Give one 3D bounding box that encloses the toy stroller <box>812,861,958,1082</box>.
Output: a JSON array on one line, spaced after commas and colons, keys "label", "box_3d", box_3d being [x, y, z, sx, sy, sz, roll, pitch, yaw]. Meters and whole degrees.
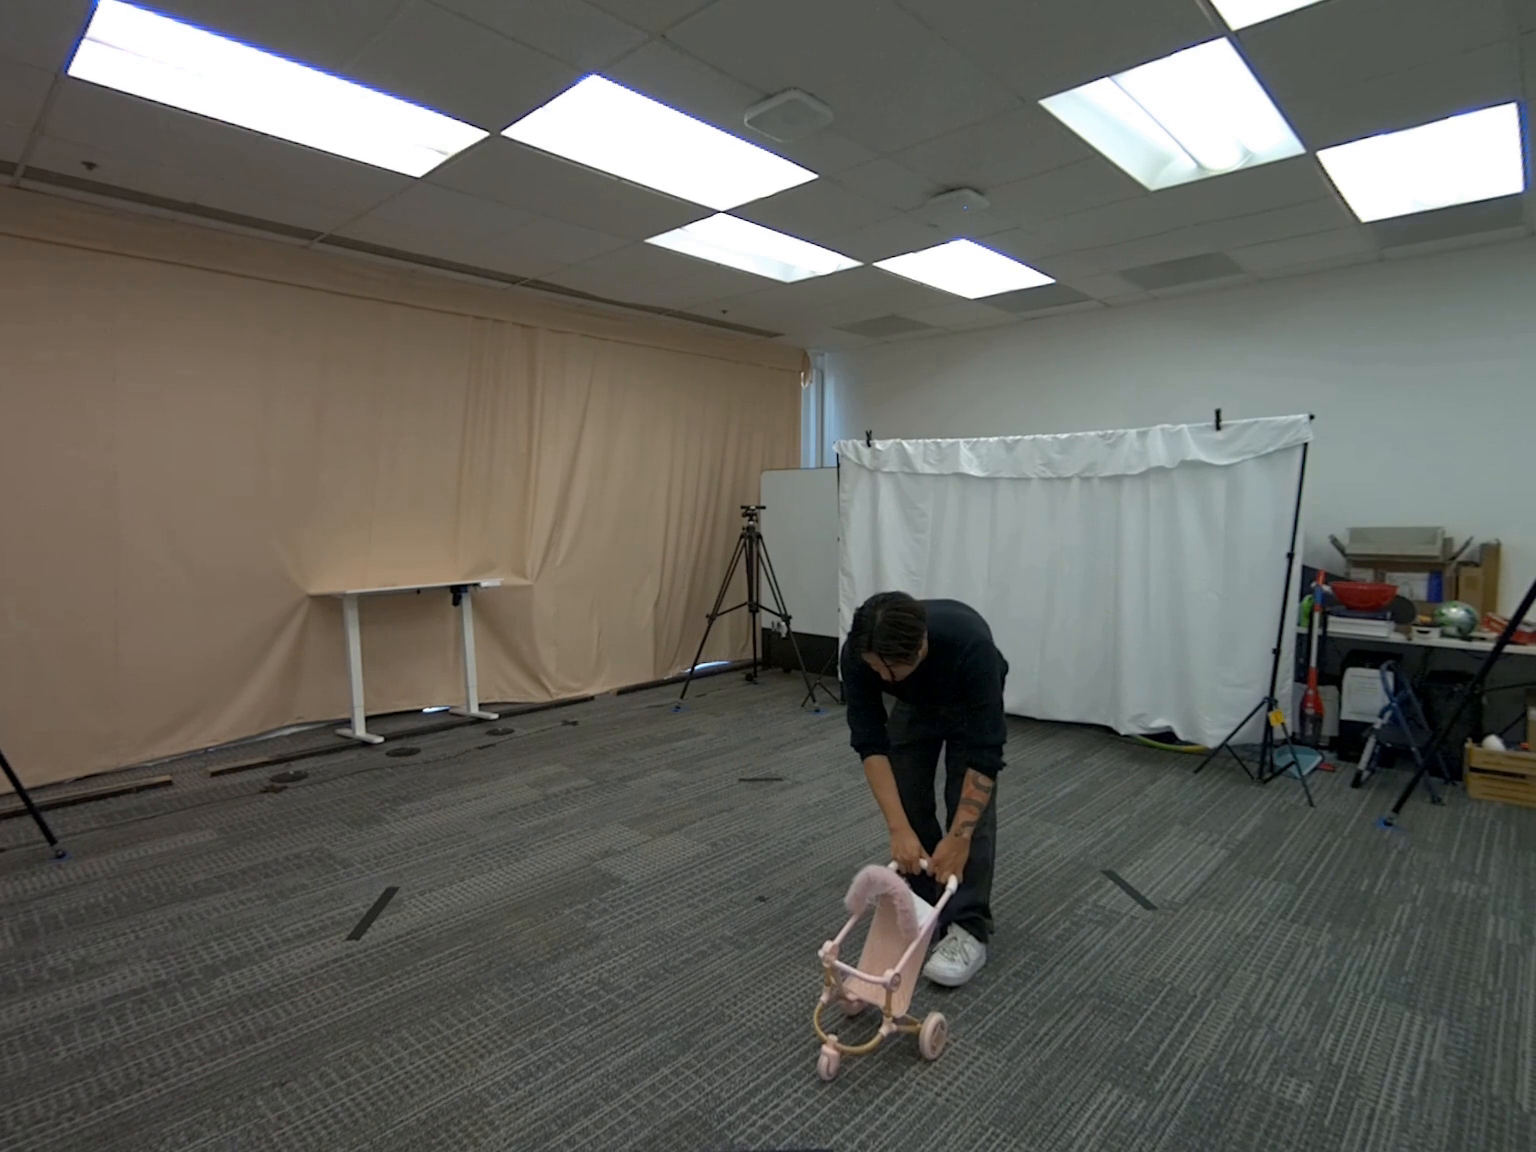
[{"label": "toy stroller", "box_3d": [0.290, 0.990, 2.168, 0.329, 0.536, 0.291, 21, -12, -39]}]
